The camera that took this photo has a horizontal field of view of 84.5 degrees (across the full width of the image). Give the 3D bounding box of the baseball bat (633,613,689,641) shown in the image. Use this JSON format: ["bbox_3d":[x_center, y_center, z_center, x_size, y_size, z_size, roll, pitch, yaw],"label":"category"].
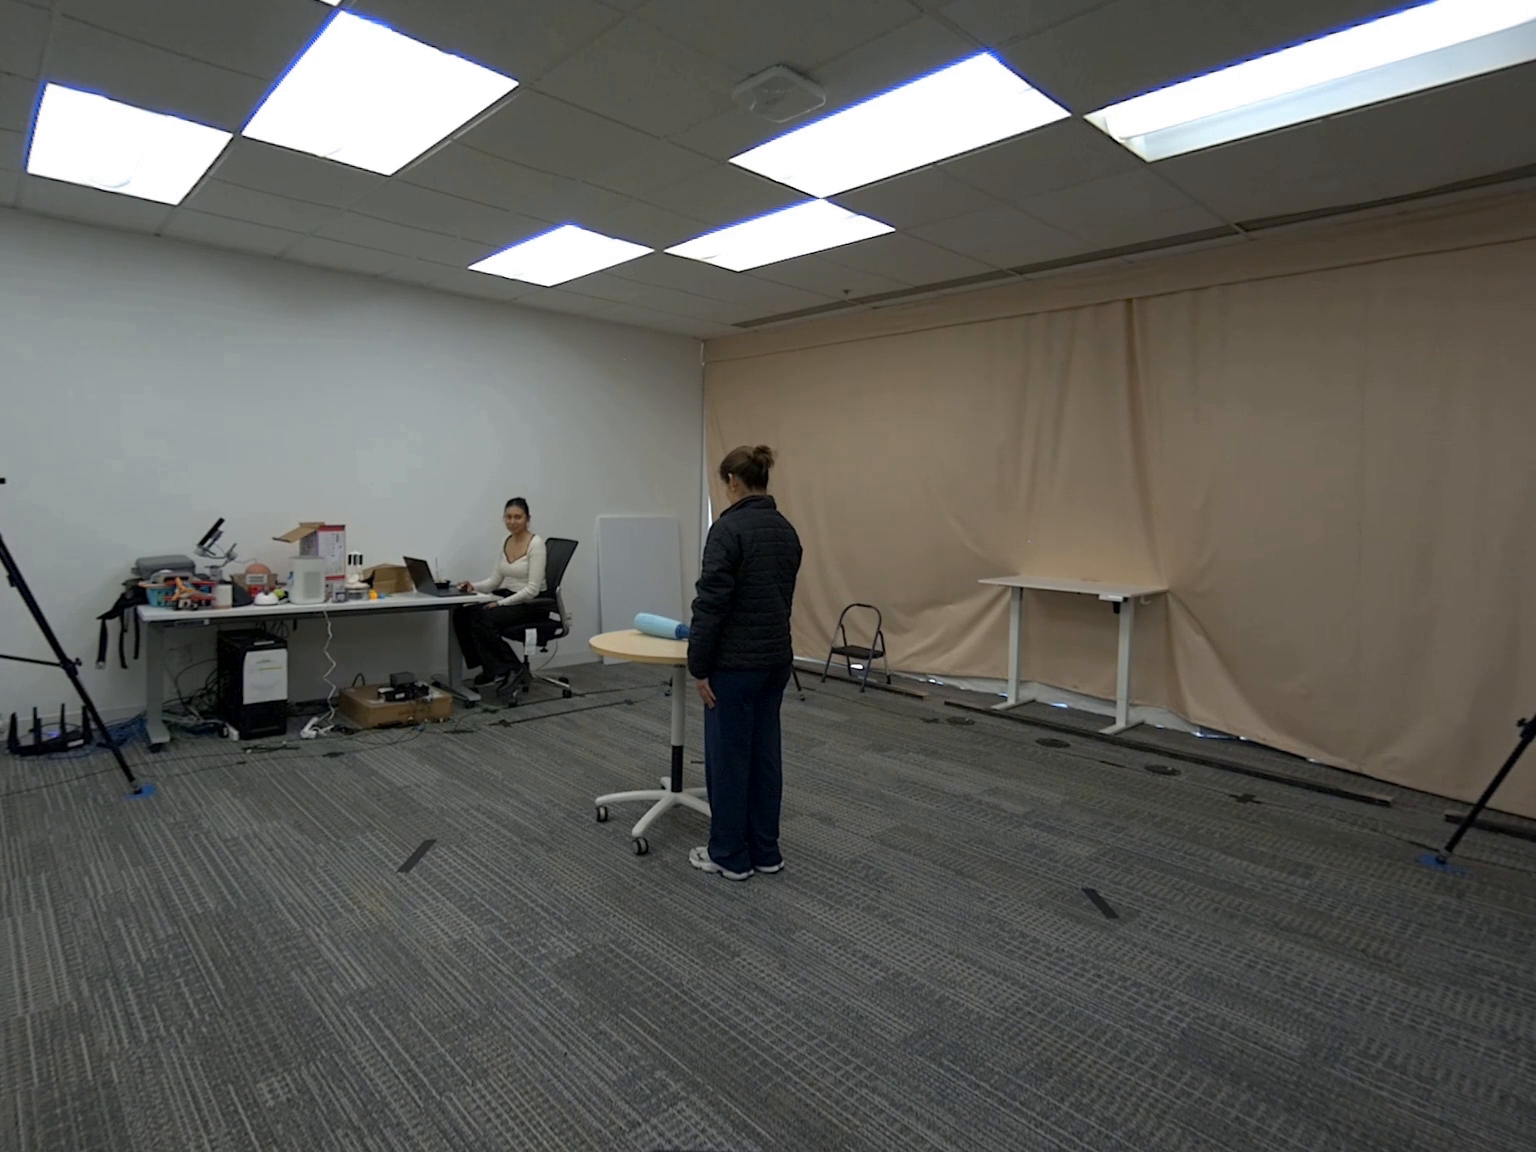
[{"bbox_3d":[-0.366,0.243,3.581,0.557,0.089,0.087,9,8,36],"label":"baseball bat"}]
